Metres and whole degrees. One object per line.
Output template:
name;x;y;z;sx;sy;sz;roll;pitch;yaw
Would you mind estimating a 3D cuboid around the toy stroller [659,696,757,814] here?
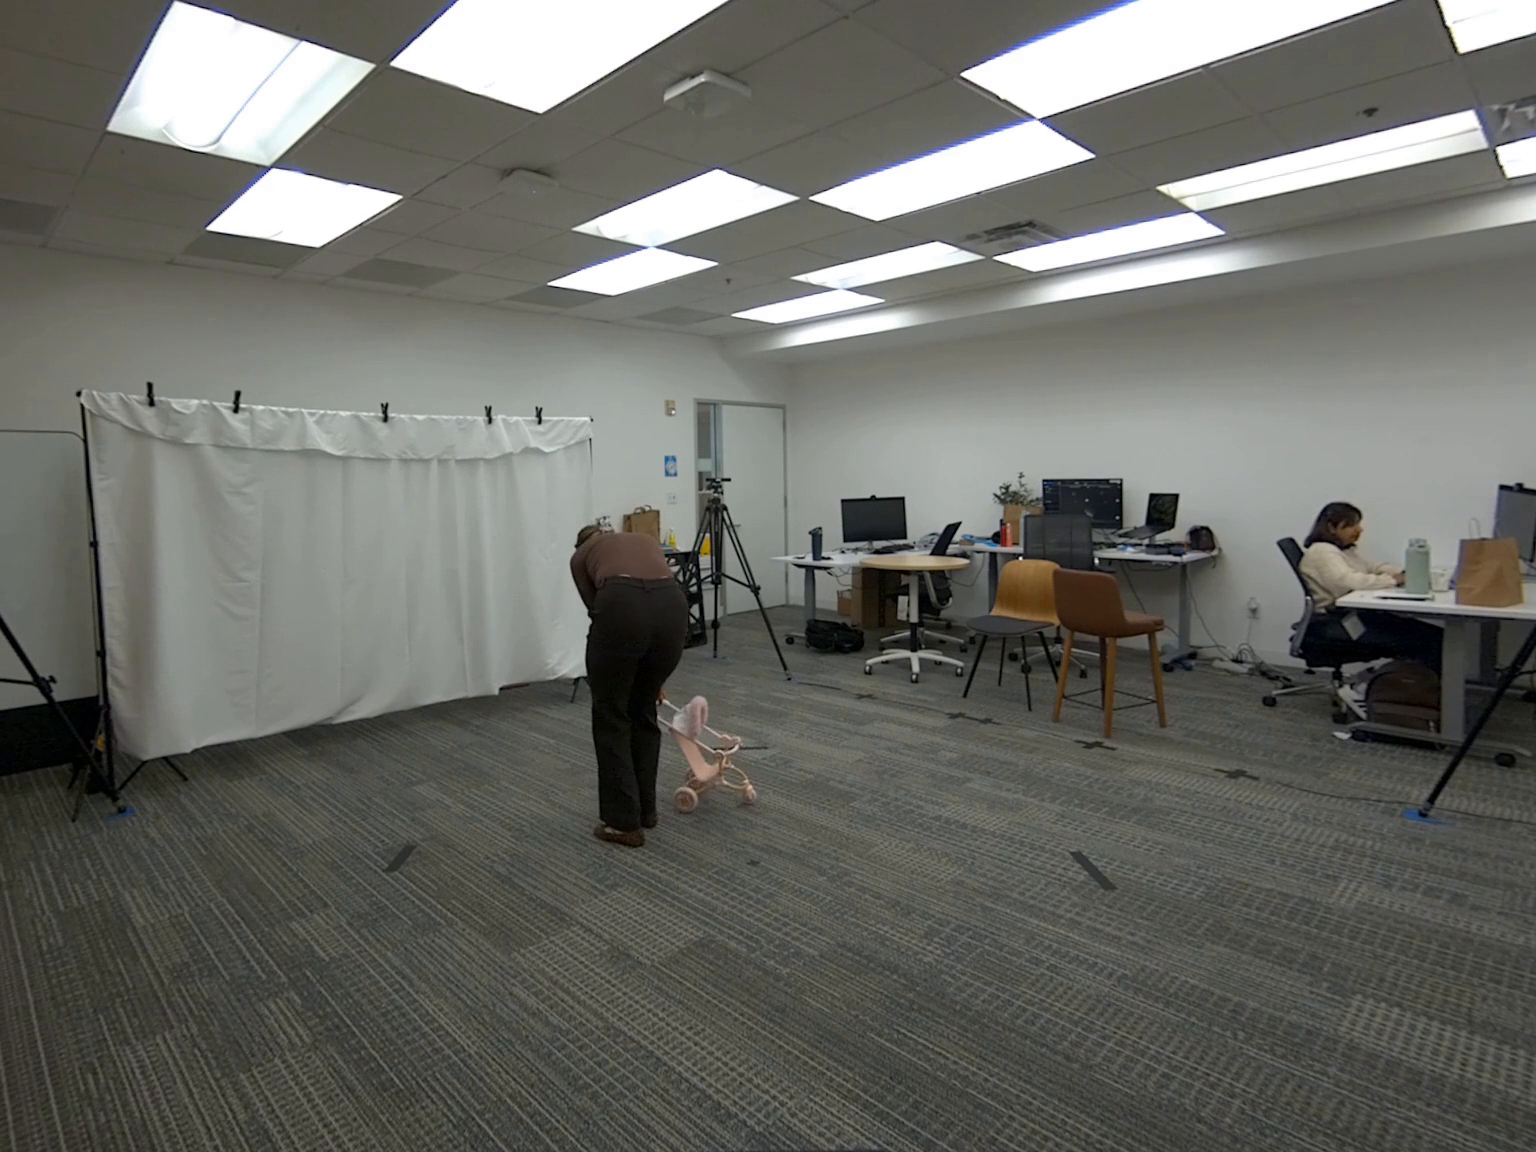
toy stroller;-0.271;0.755;3.677;0.345;0.533;0.279;-16;3;14
